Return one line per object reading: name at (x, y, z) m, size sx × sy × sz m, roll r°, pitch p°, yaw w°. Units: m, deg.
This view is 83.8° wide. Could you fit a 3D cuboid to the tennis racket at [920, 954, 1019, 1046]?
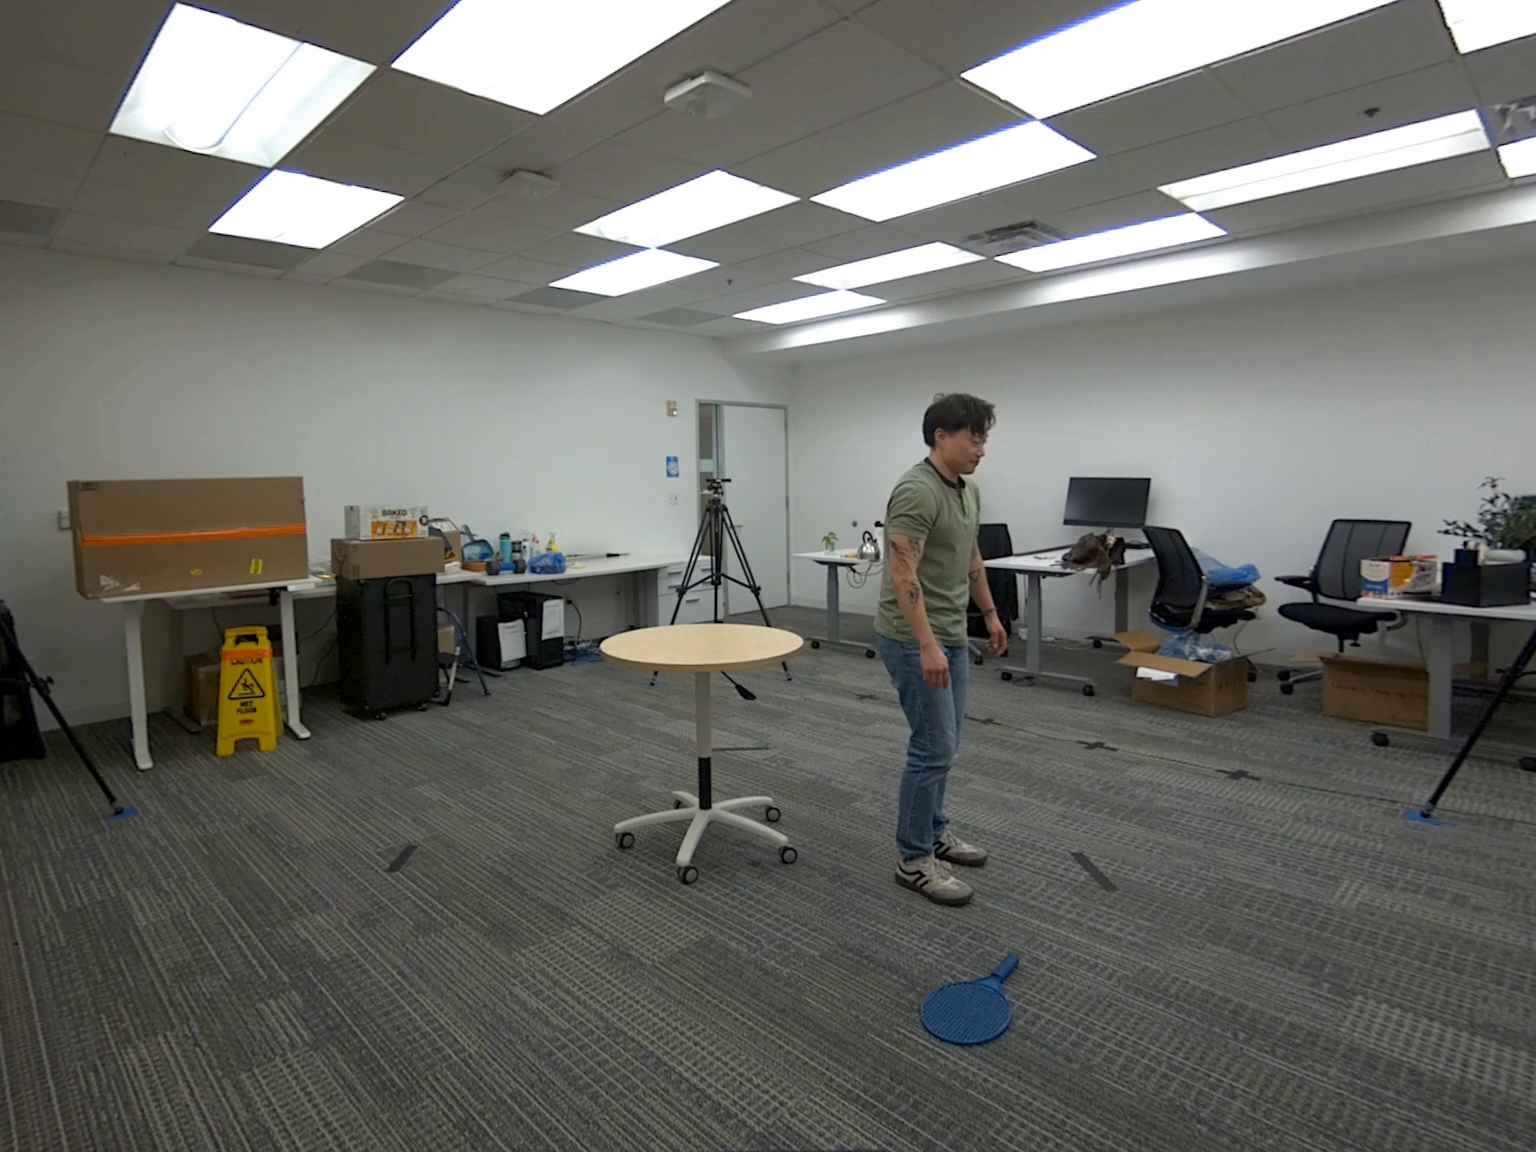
tennis racket at (0.574, 1.117, 2.269) m, size 0.220 × 0.031 × 0.422 m, roll 3°, pitch 10°, yaw 42°
